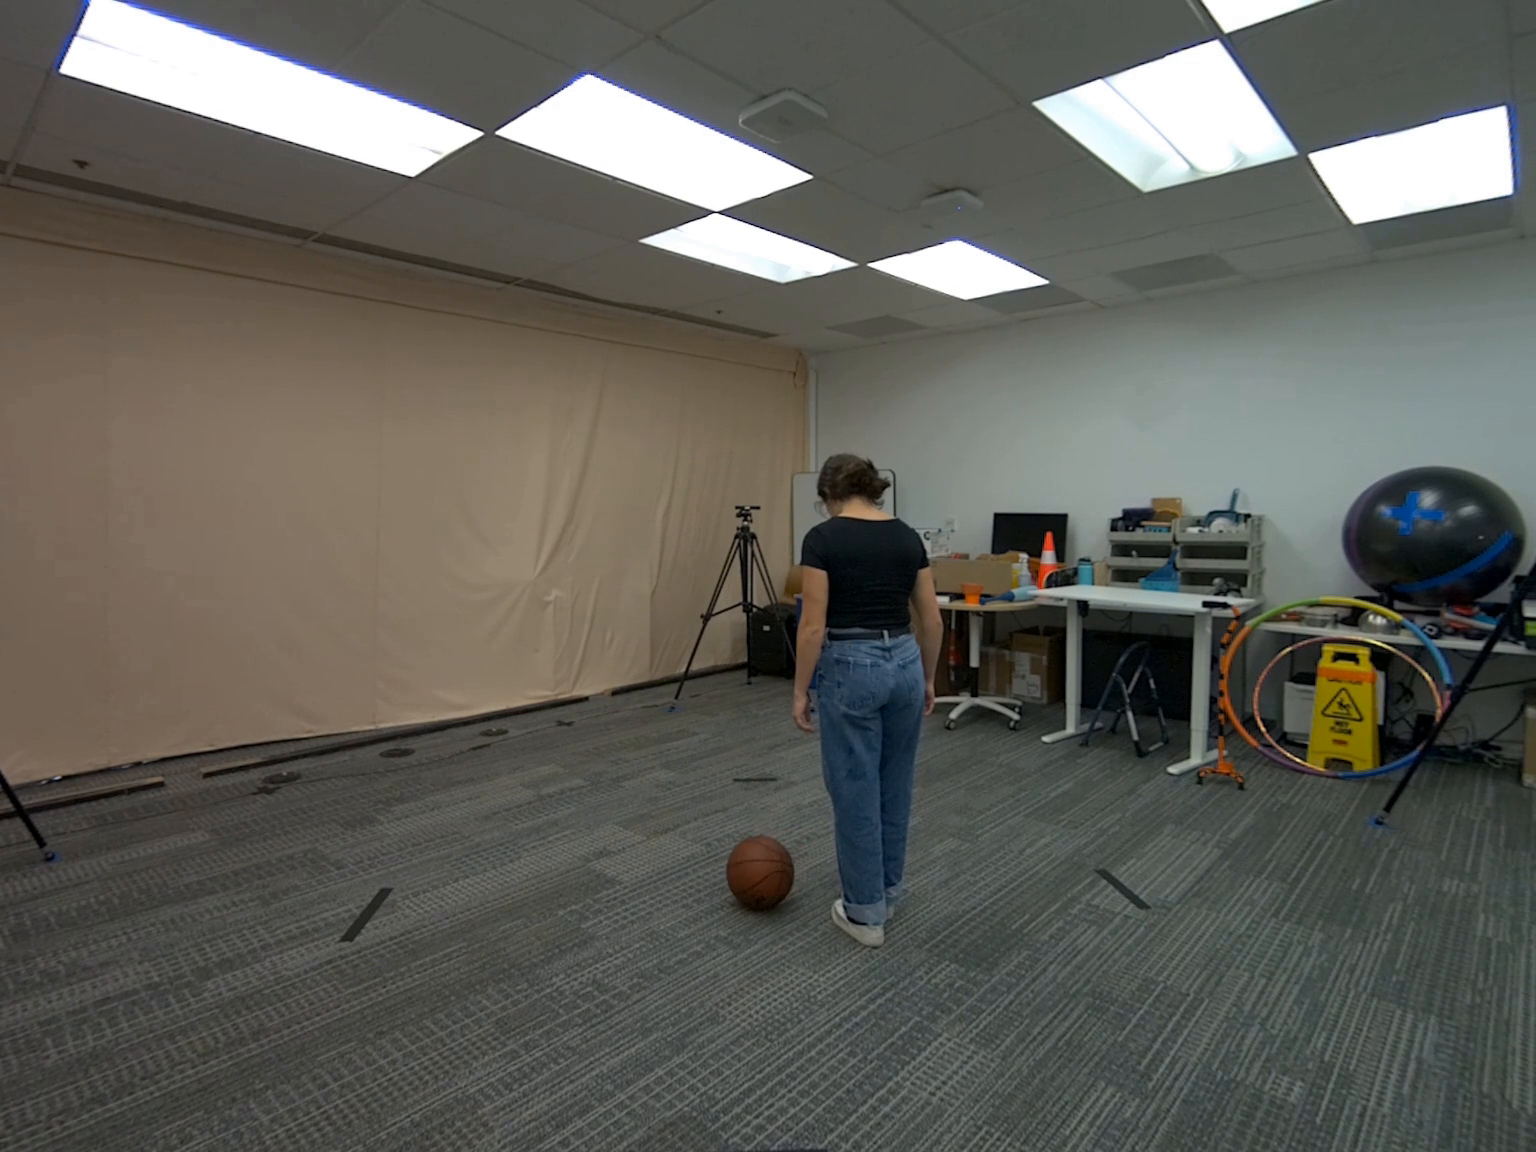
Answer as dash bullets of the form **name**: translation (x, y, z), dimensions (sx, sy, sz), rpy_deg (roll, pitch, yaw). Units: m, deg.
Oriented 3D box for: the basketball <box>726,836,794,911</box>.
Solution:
- **basketball**: translation (-0.026, 1.024, 2.929), dimensions (0.236, 0.235, 0.237), rpy_deg (0, 4, -2)
